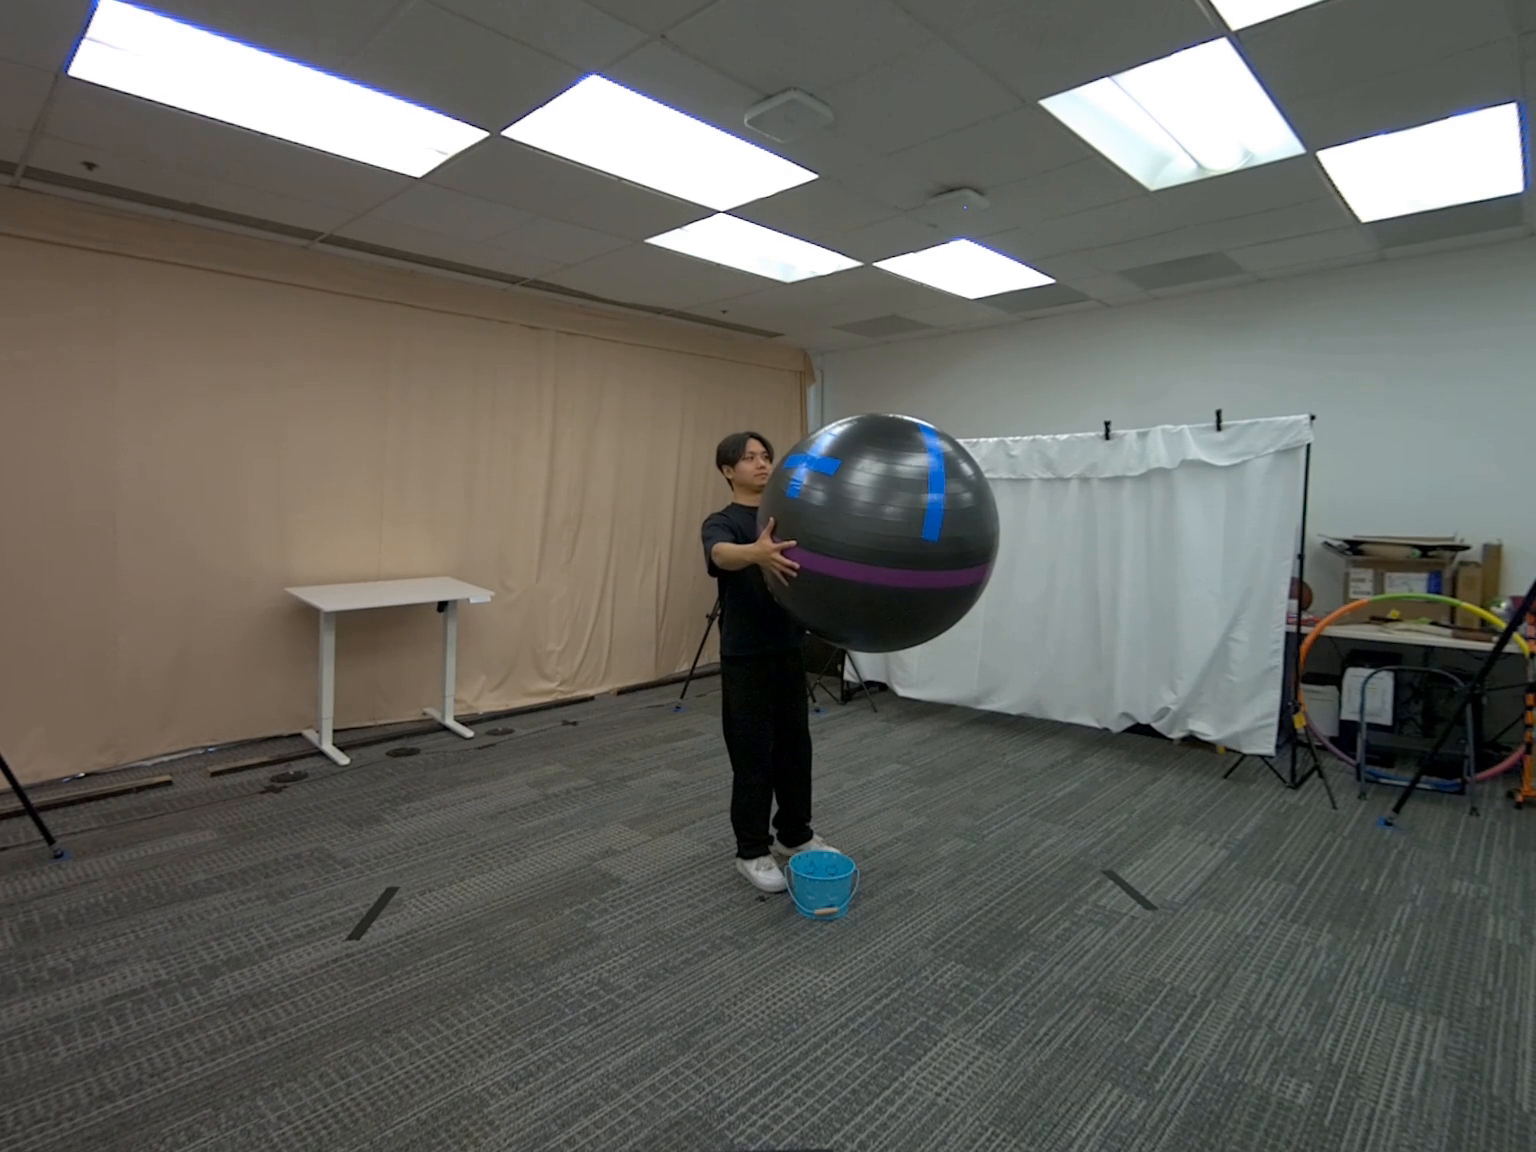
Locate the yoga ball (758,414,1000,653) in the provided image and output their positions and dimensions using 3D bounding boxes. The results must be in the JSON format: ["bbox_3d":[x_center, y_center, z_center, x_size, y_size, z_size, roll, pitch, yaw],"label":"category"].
[{"bbox_3d":[0.359,-0.129,2.703,0.757,0.756,0.761,0,4,-2],"label":"yoga ball"}]
